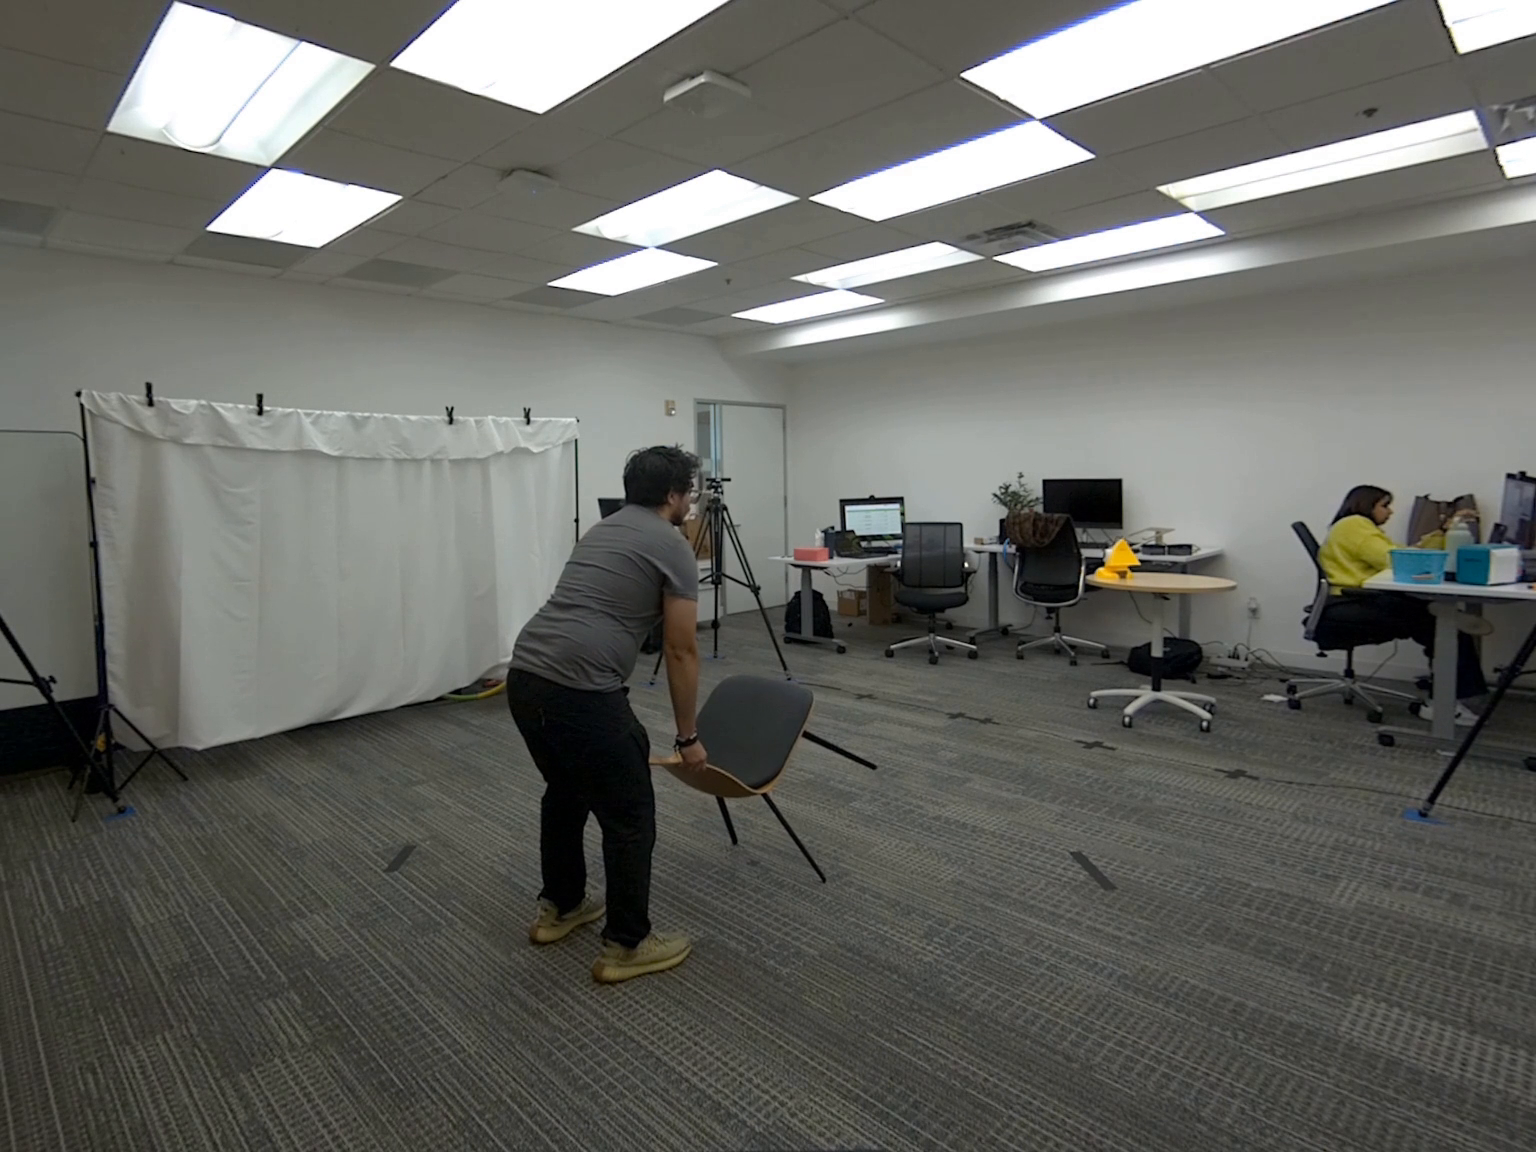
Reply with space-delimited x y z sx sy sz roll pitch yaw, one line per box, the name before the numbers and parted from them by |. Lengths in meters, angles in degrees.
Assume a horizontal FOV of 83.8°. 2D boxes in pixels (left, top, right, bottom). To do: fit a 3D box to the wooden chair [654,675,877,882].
wooden chair | -0.074 0.593 2.974 0.493 0.527 0.844 4 -32 44
